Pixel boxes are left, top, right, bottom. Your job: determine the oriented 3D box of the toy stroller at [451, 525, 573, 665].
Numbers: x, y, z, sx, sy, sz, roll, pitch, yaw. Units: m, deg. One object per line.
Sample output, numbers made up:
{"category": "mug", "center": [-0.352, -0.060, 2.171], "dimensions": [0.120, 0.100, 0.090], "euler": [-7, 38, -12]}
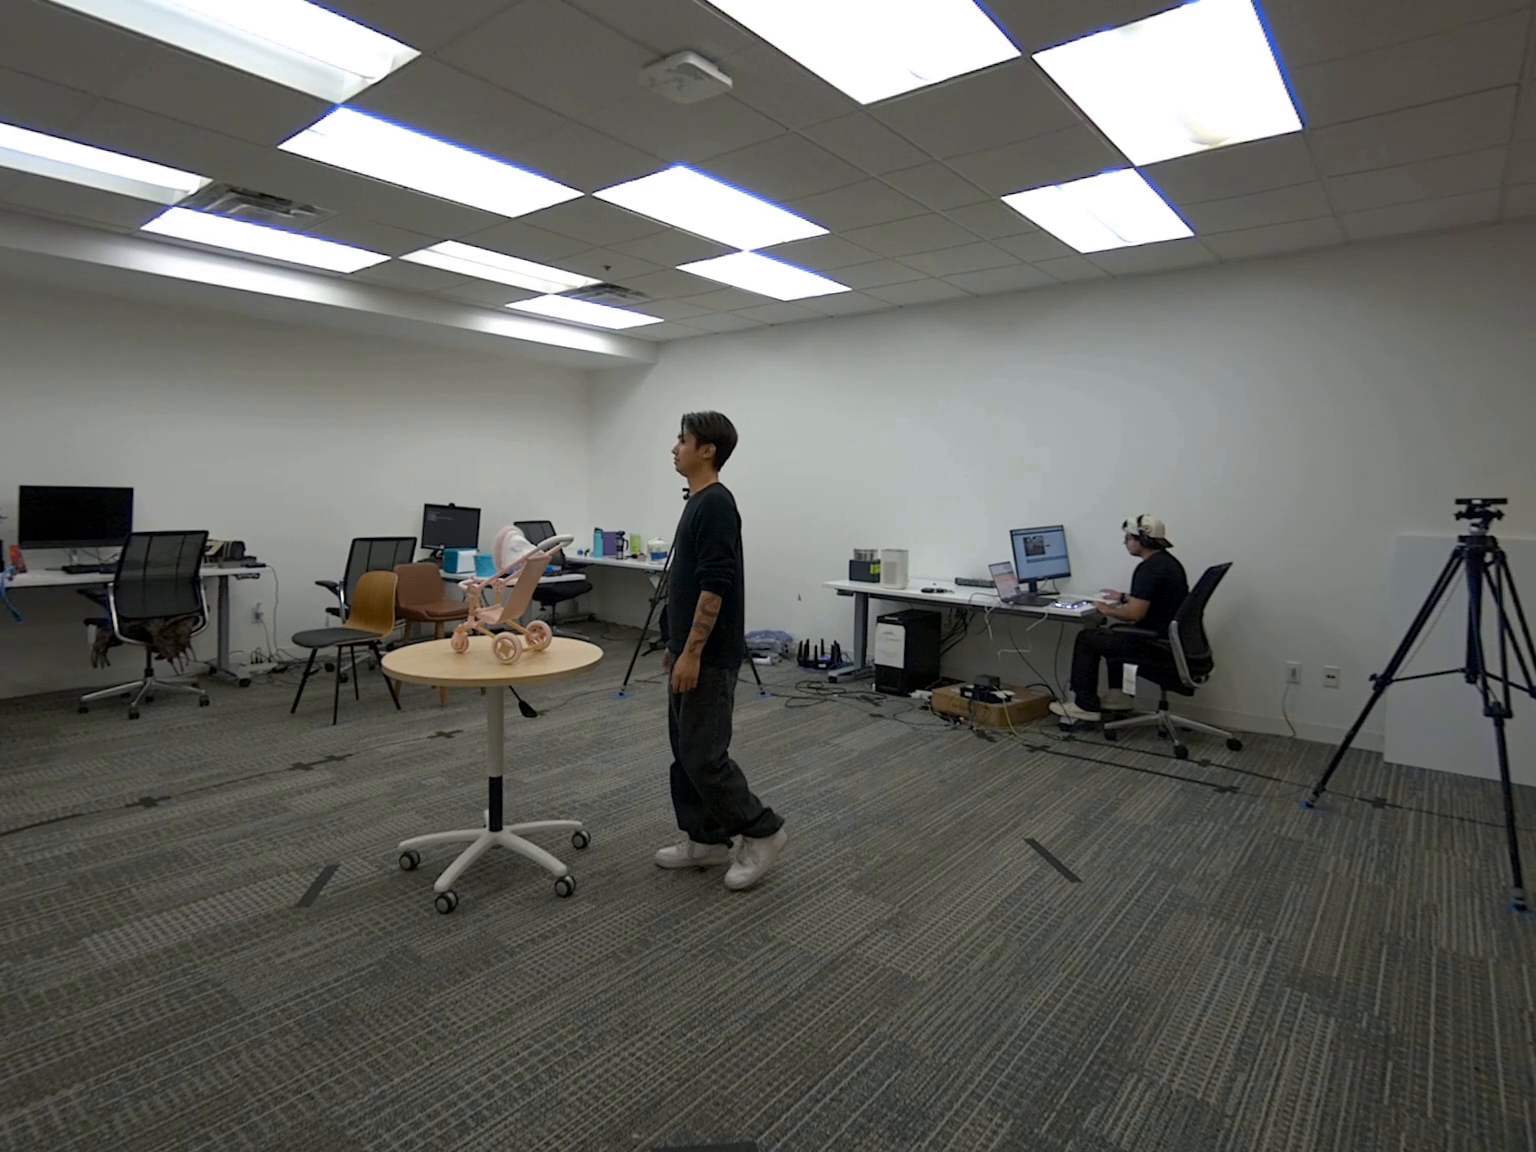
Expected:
{"category": "toy stroller", "center": [-0.946, 0.062, 3.025], "dimensions": [0.348, 0.532, 0.277], "euler": [18, 9, 15]}
